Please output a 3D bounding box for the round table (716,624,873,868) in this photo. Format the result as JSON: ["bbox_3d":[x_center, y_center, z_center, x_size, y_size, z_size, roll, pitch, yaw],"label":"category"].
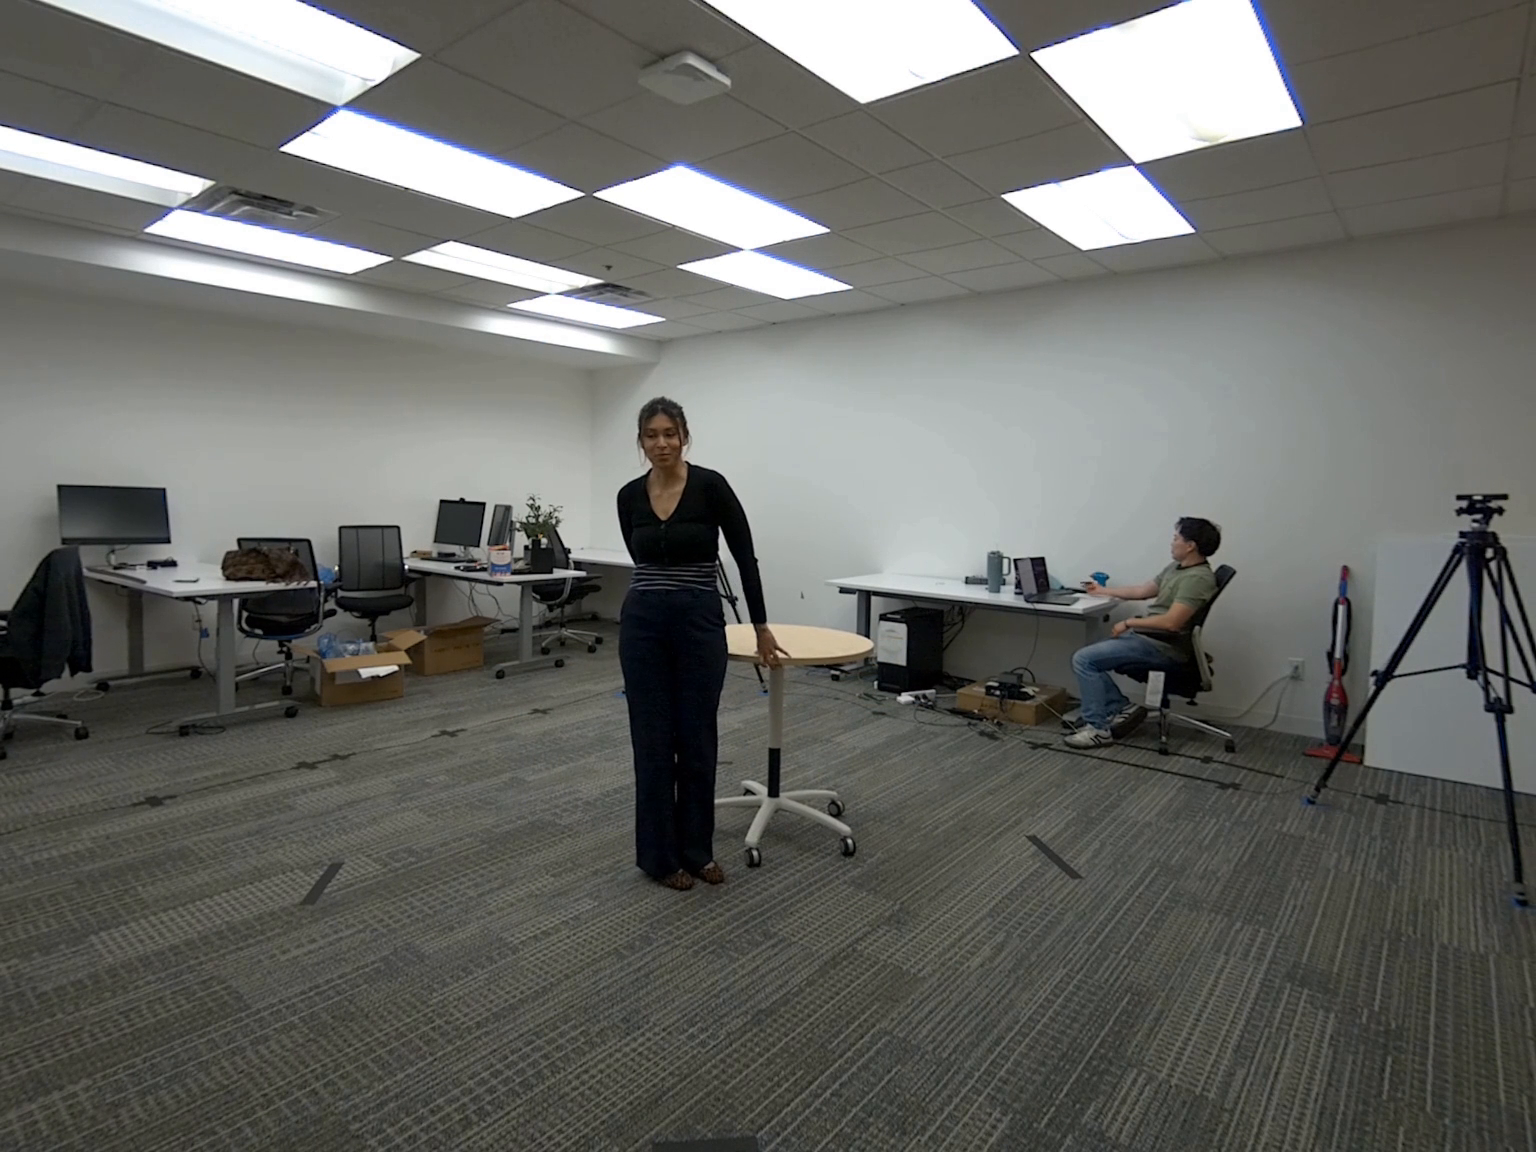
[{"bbox_3d":[0.020,0.645,3.453,0.763,0.791,0.768,1,4,-2],"label":"round table"}]
